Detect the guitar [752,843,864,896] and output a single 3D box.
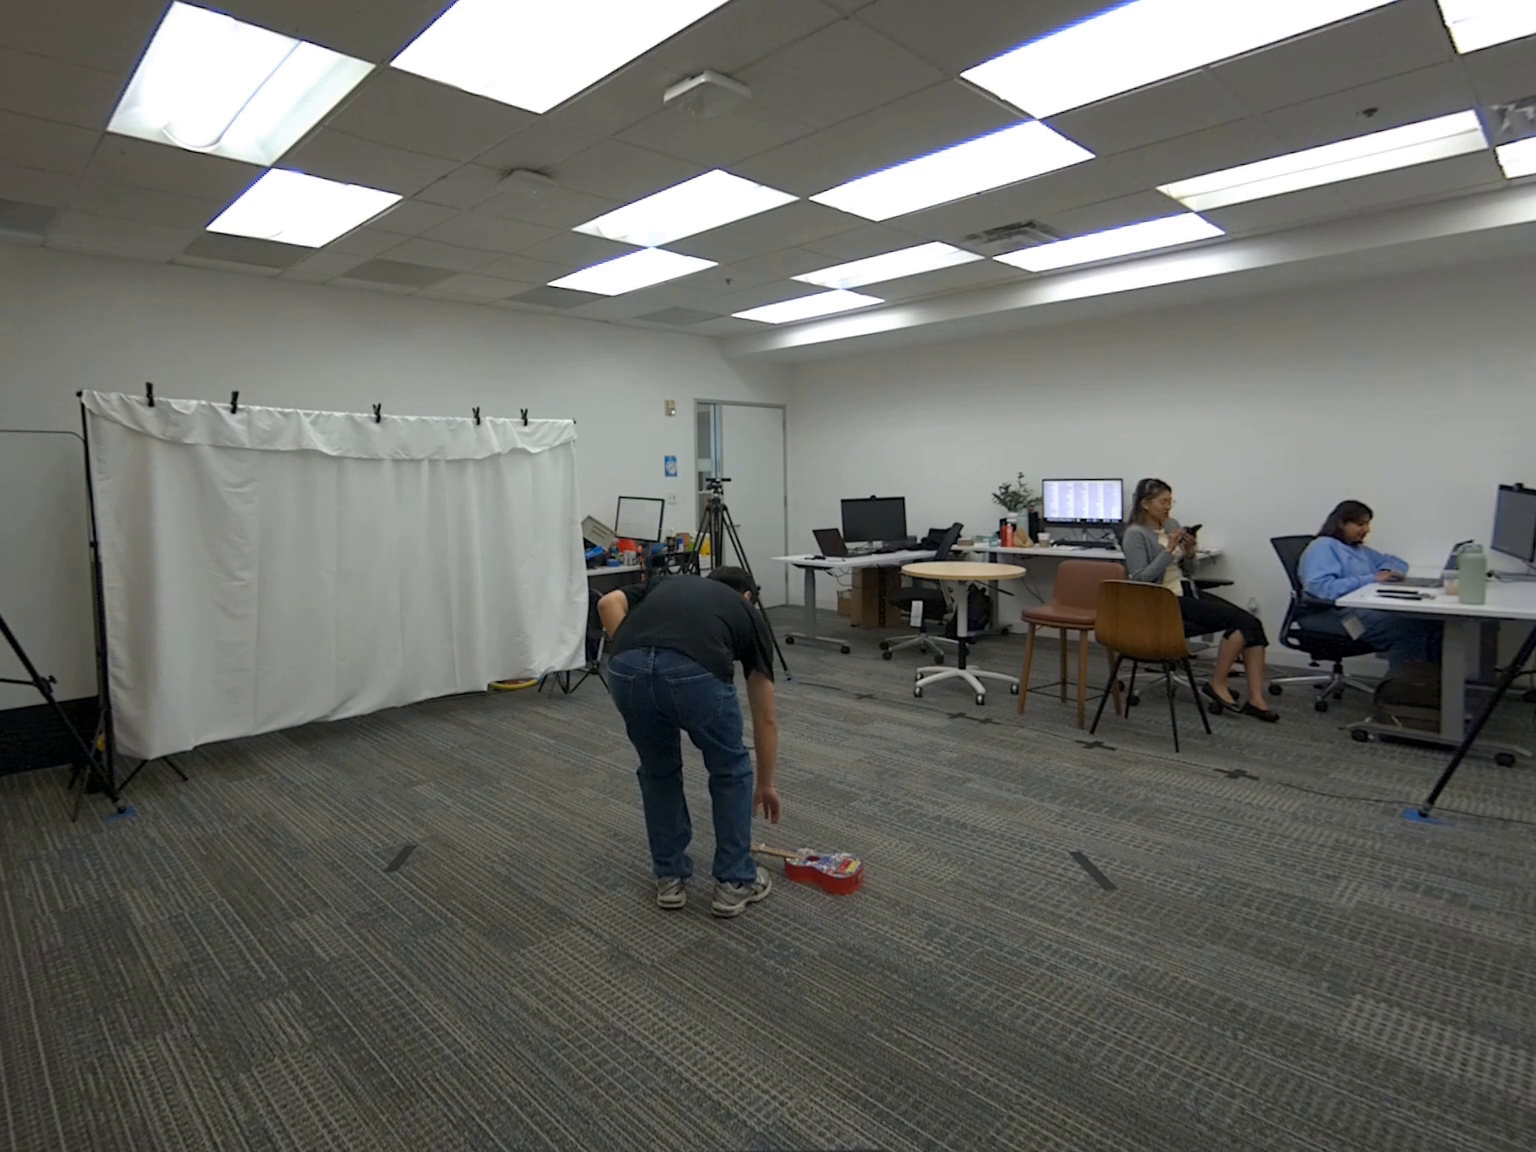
[{"bbox_3d":[0.107,1.011,3.054,0.512,0.070,0.188,4,8,34],"label":"guitar"}]
